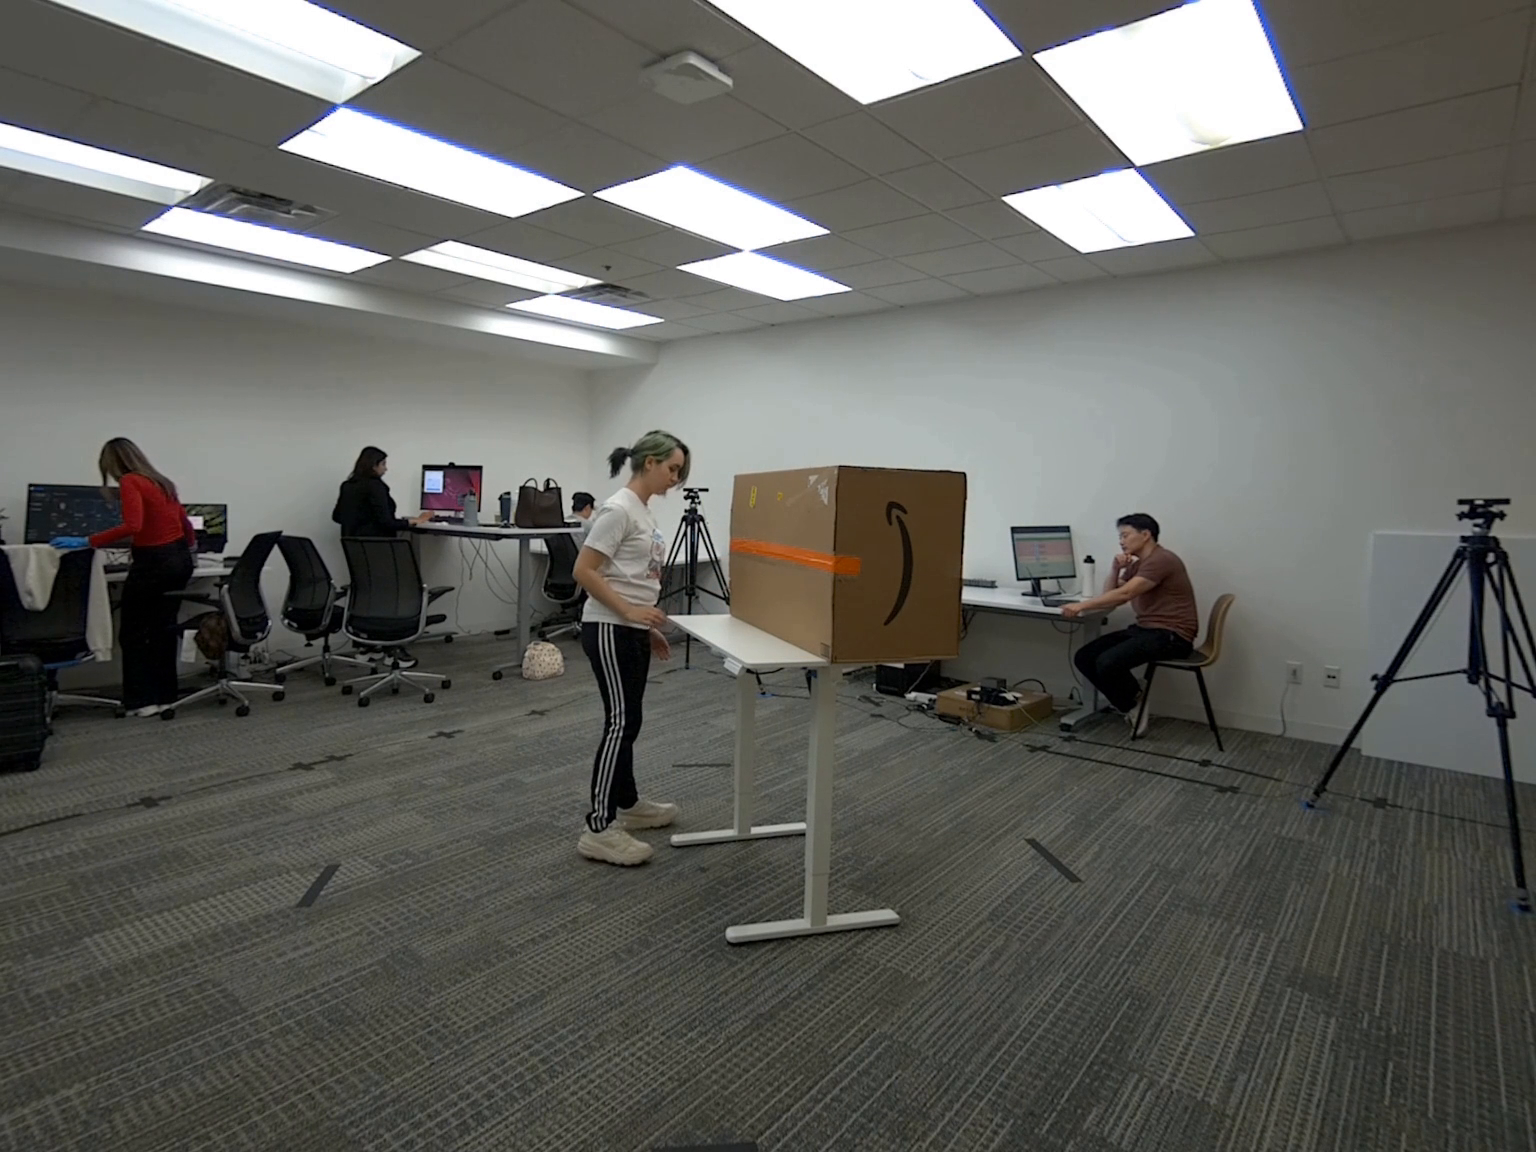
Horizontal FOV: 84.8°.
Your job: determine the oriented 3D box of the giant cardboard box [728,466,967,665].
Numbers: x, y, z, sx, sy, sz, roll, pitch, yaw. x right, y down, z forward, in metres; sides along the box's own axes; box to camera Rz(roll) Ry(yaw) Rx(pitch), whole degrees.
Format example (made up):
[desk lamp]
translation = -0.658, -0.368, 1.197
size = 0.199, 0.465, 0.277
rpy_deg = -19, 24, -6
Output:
[giant cardboard box]
translation = 0.213, -0.085, 3.009
size = 0.439, 0.582, 1.049
rpy_deg = -1, 4, -19
